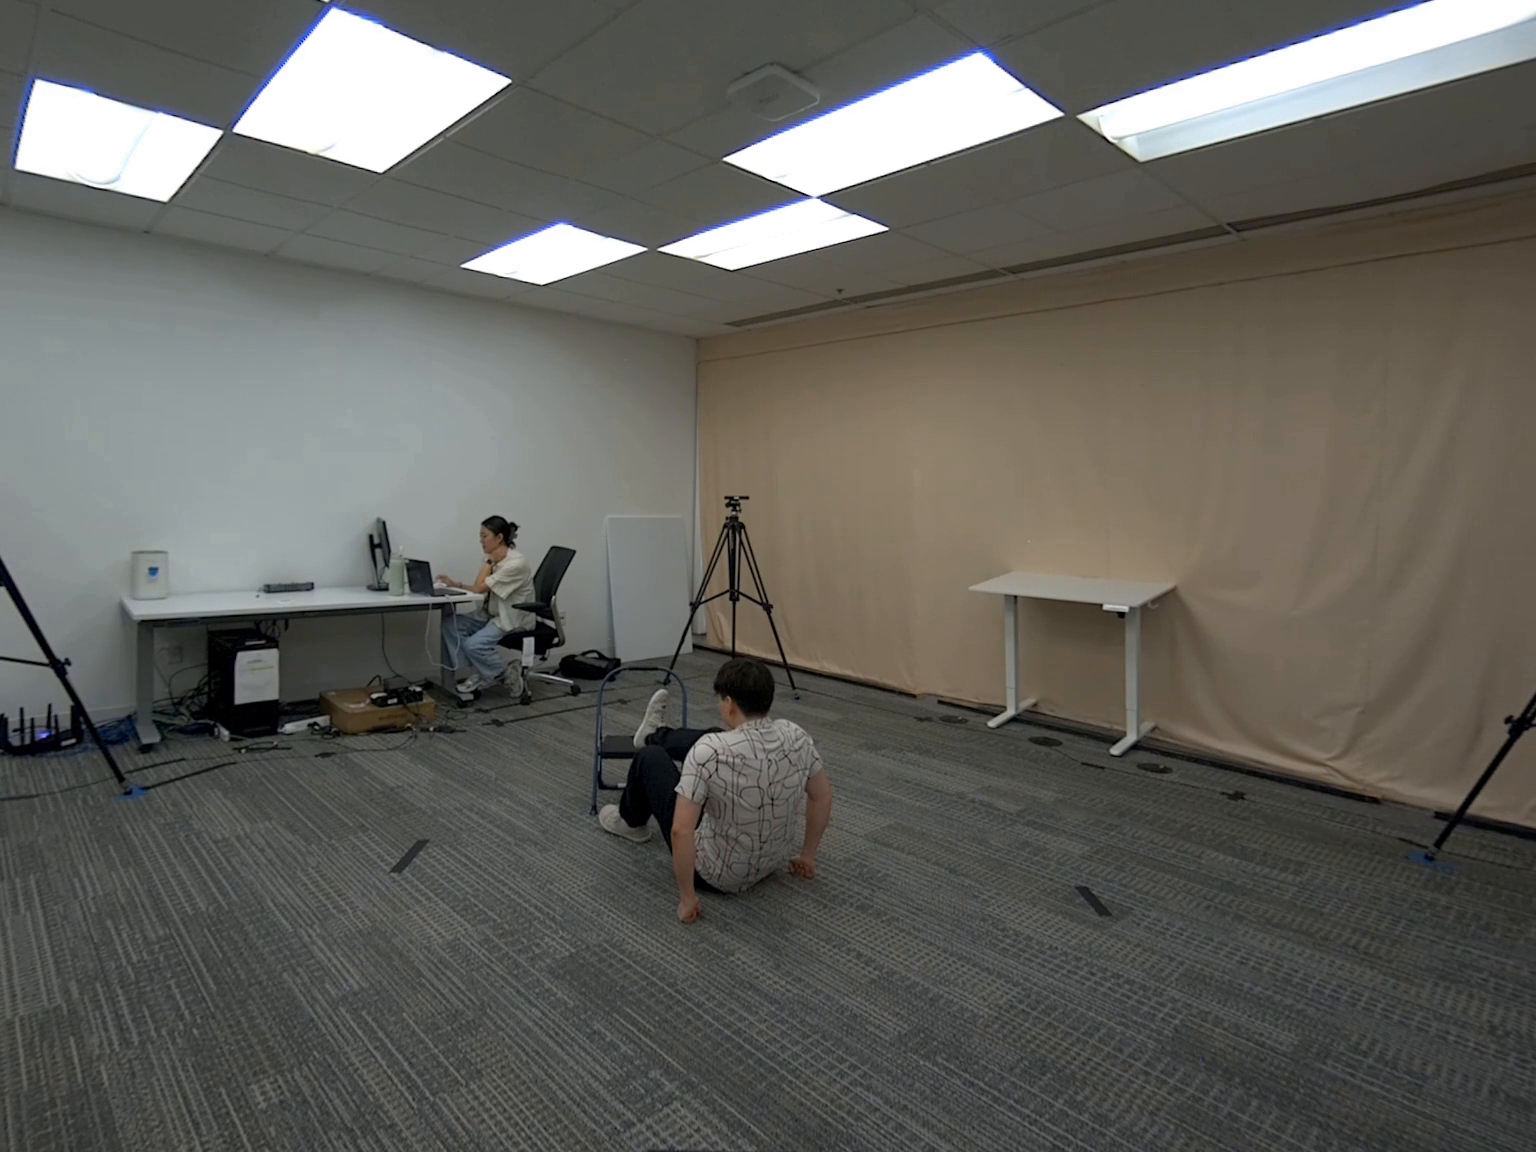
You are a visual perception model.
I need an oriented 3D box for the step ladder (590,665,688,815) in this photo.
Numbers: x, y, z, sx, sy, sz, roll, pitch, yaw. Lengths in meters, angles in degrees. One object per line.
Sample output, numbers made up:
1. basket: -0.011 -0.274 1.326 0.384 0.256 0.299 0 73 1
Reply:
1. step ladder: -0.587 0.729 3.836 0.429 0.604 0.352 1 4 -6
